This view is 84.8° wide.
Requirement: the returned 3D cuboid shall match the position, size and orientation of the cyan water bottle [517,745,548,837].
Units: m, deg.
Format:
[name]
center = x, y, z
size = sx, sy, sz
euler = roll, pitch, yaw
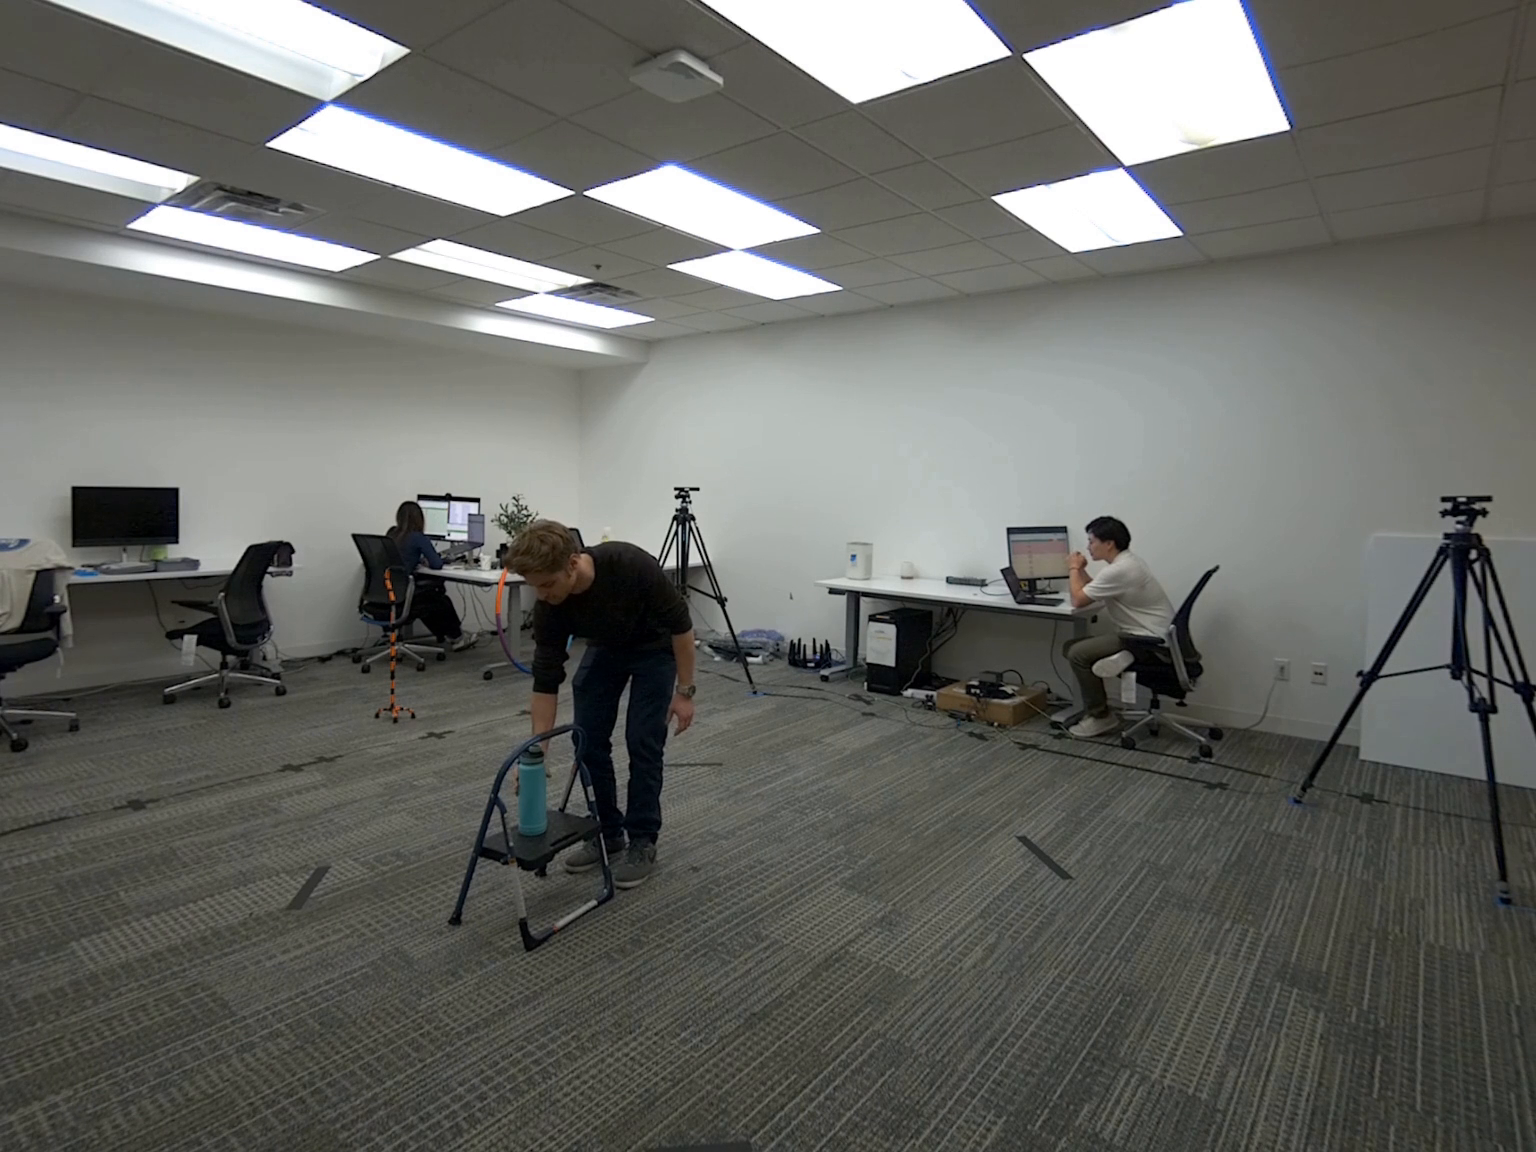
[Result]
[cyan water bottle]
center = -0.786, 0.691, 2.771
size = 0.092, 0.283, 0.092
euler = -2, 2, -2
